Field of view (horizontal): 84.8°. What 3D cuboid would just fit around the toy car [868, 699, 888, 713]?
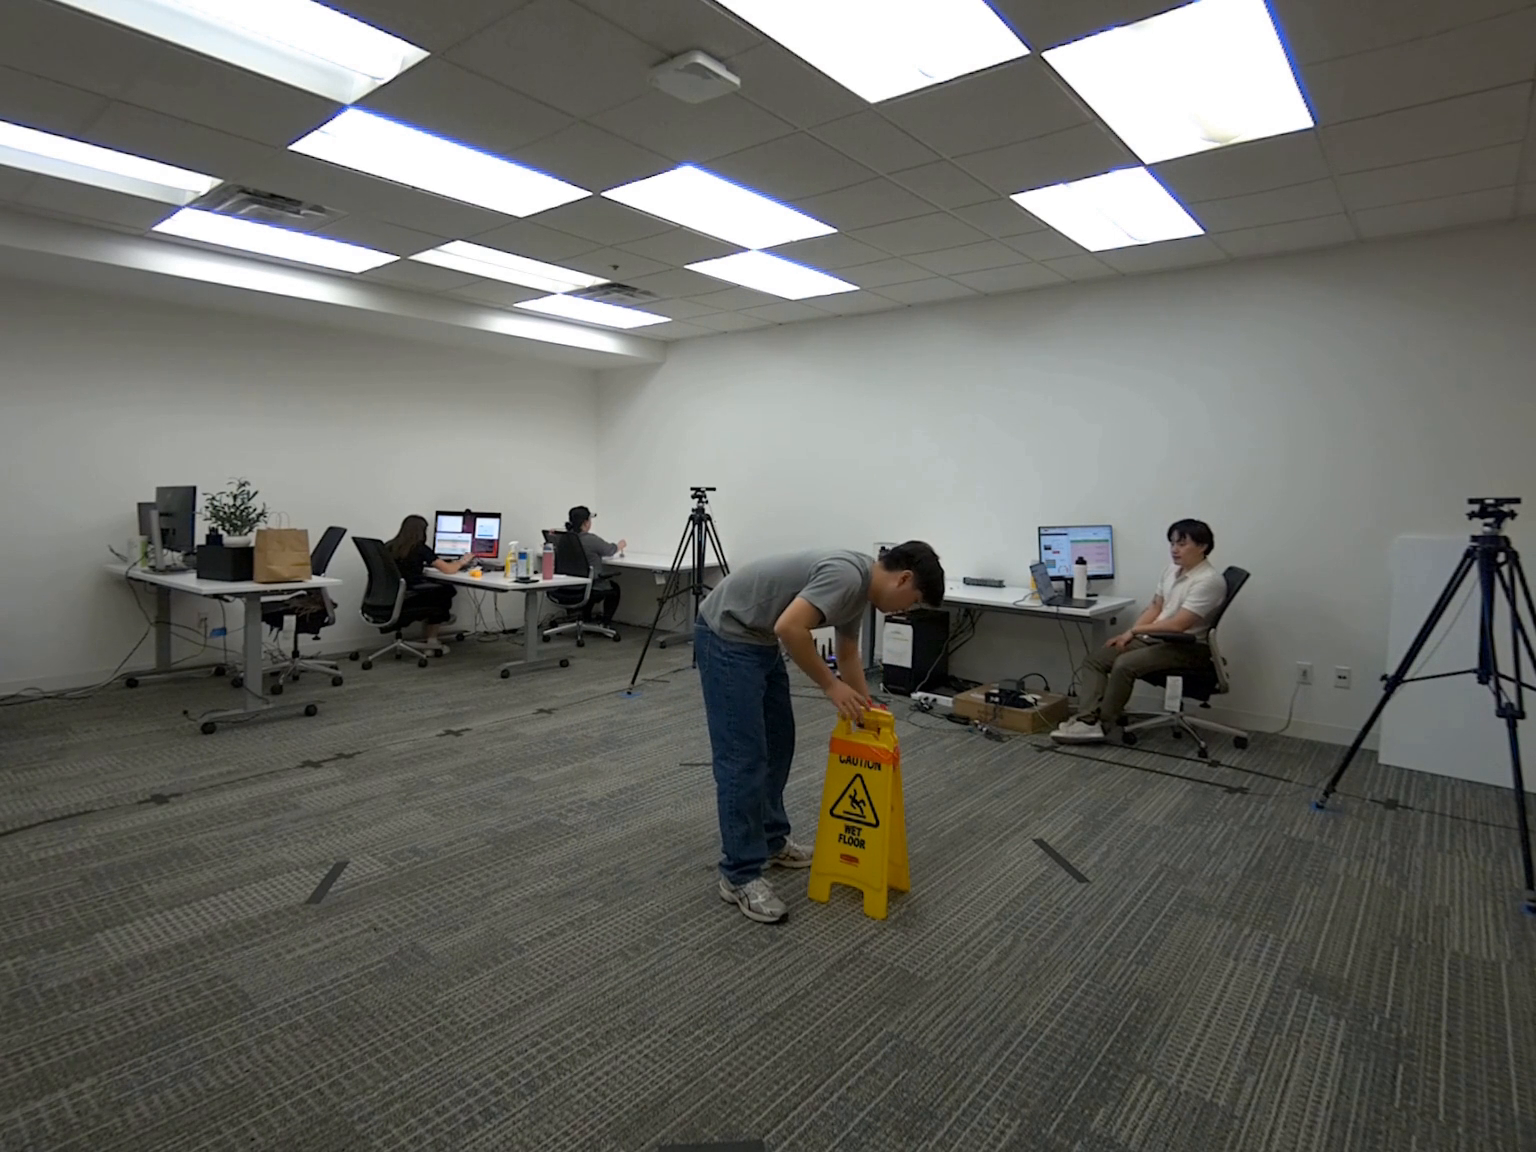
[{"bbox_3d":[0.361,0.553,2.950,0.135,0.249,0.082,19,28,33],"label":"toy car"}]
